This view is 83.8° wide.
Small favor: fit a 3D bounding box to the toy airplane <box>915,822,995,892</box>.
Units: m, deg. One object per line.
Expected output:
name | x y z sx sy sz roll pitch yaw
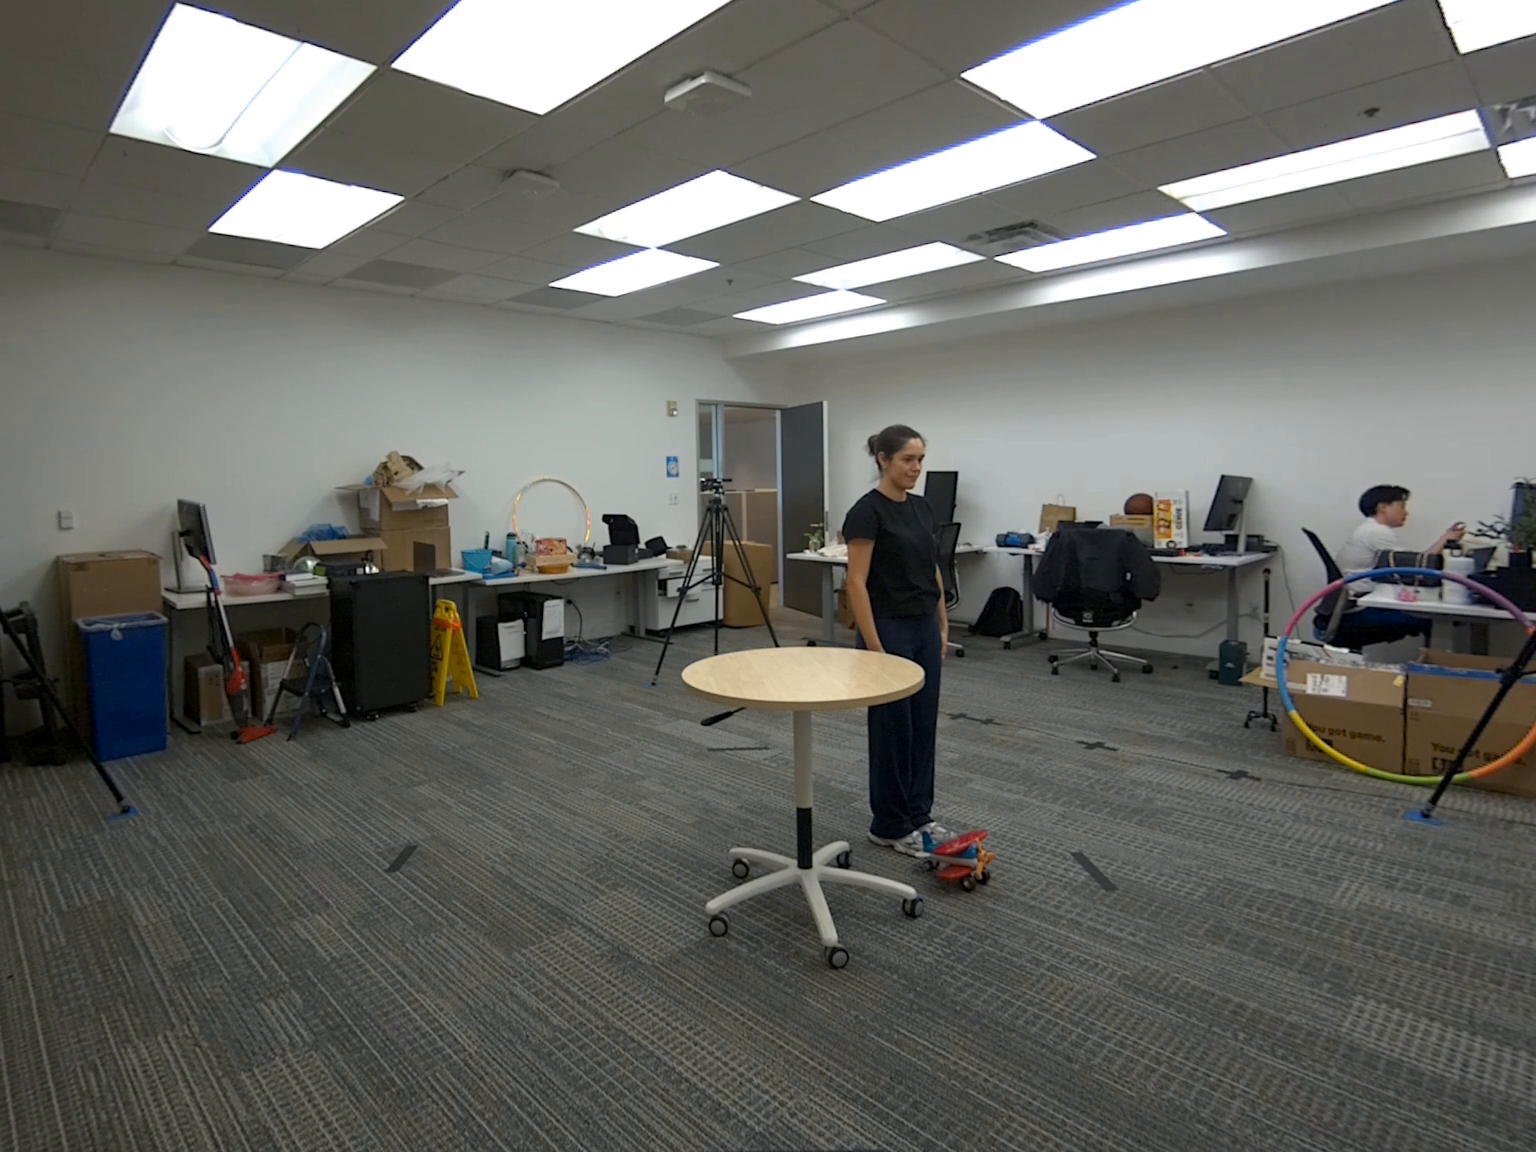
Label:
toy airplane | 0.633 0.978 2.969 0.264 0.156 0.247 3 6 20
